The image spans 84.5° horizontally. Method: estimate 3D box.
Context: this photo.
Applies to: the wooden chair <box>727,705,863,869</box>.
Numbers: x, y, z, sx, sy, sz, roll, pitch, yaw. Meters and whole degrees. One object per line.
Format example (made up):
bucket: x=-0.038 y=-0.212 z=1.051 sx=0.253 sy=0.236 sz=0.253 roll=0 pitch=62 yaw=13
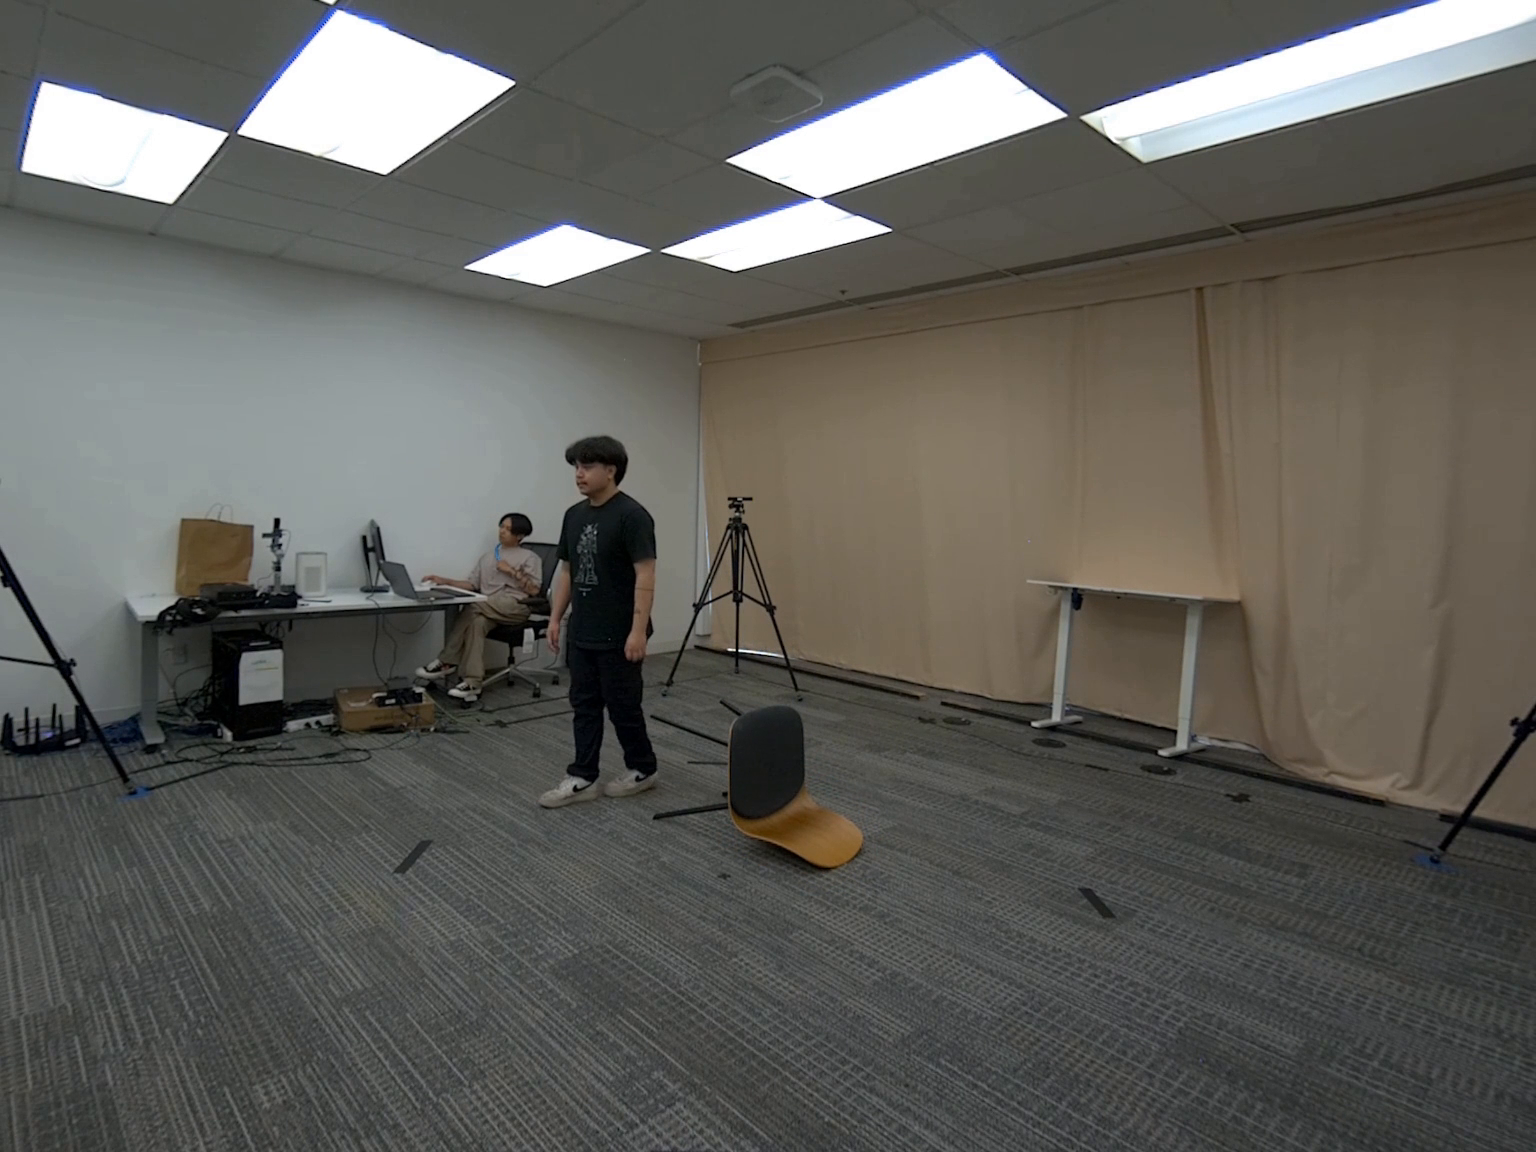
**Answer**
wooden chair: x=-0.042 y=0.817 z=3.509 sx=0.900 sy=0.521 sz=0.467 roll=7 pitch=6 yaw=42
